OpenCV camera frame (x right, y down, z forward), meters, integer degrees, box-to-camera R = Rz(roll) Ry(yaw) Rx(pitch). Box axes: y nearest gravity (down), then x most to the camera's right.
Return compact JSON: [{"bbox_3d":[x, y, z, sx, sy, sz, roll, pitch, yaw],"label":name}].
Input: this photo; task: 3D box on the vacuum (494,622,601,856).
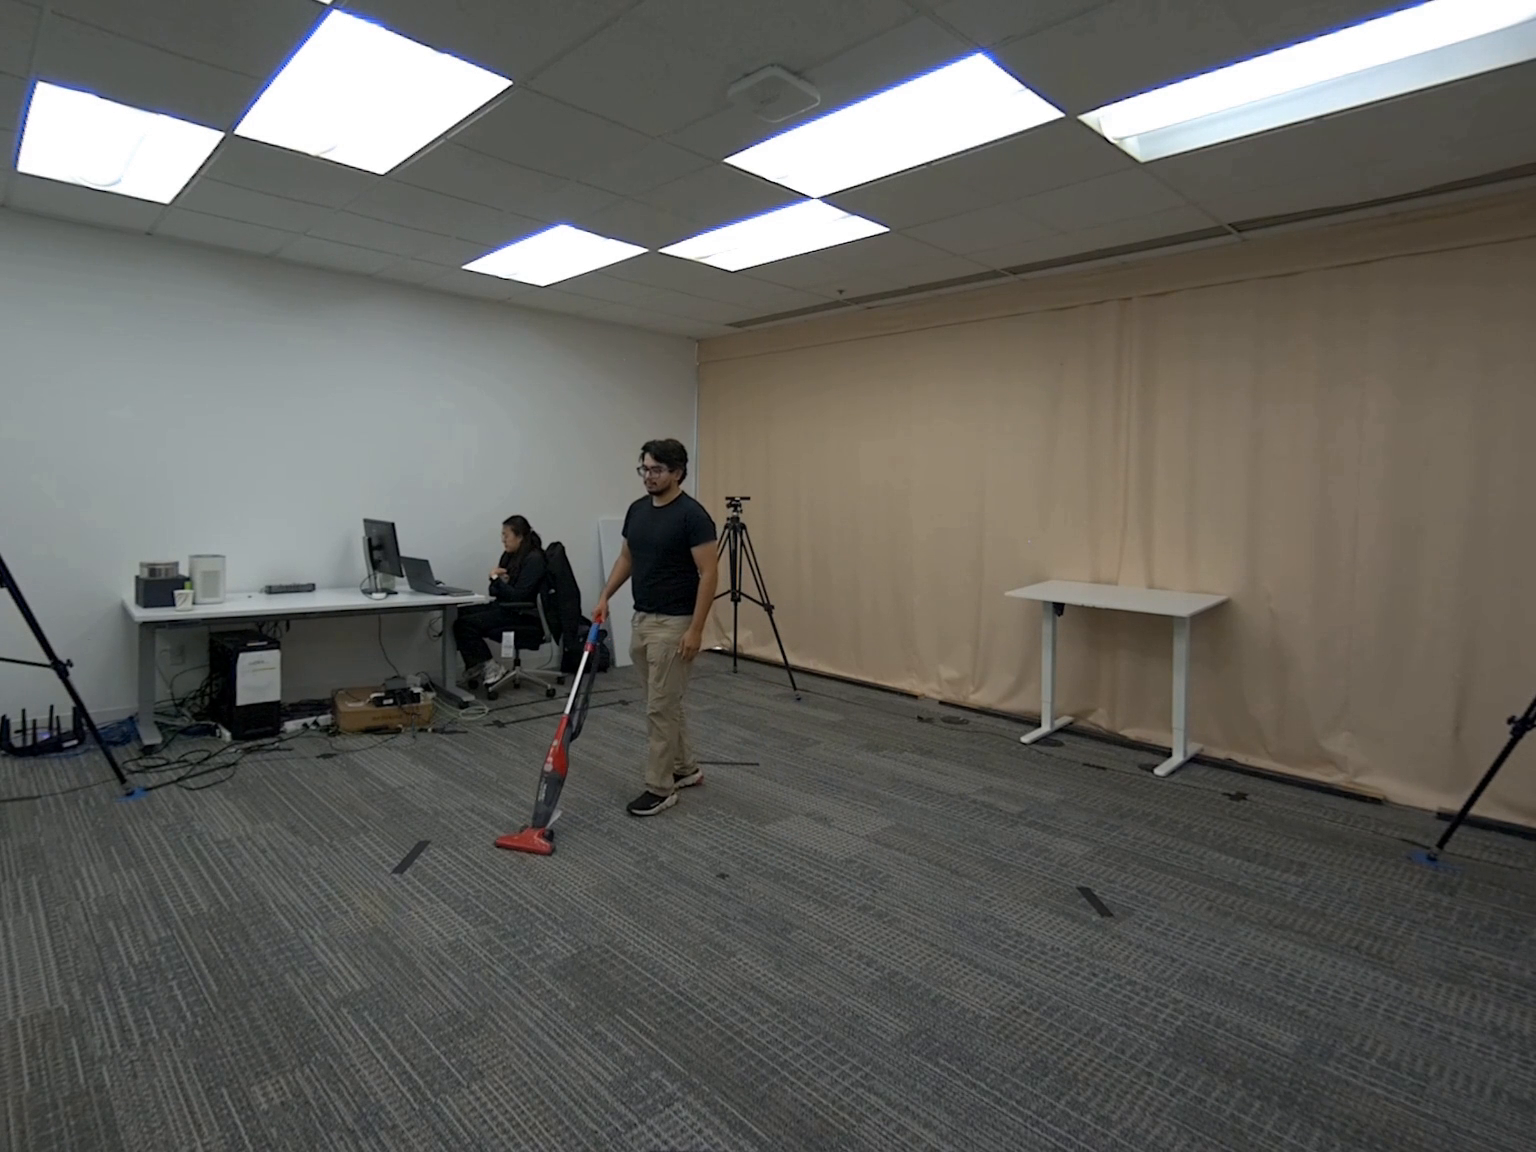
[{"bbox_3d":[-0.854,0.619,3.608,0.256,1.064,0.140,1,-33,17],"label":"vacuum"}]
